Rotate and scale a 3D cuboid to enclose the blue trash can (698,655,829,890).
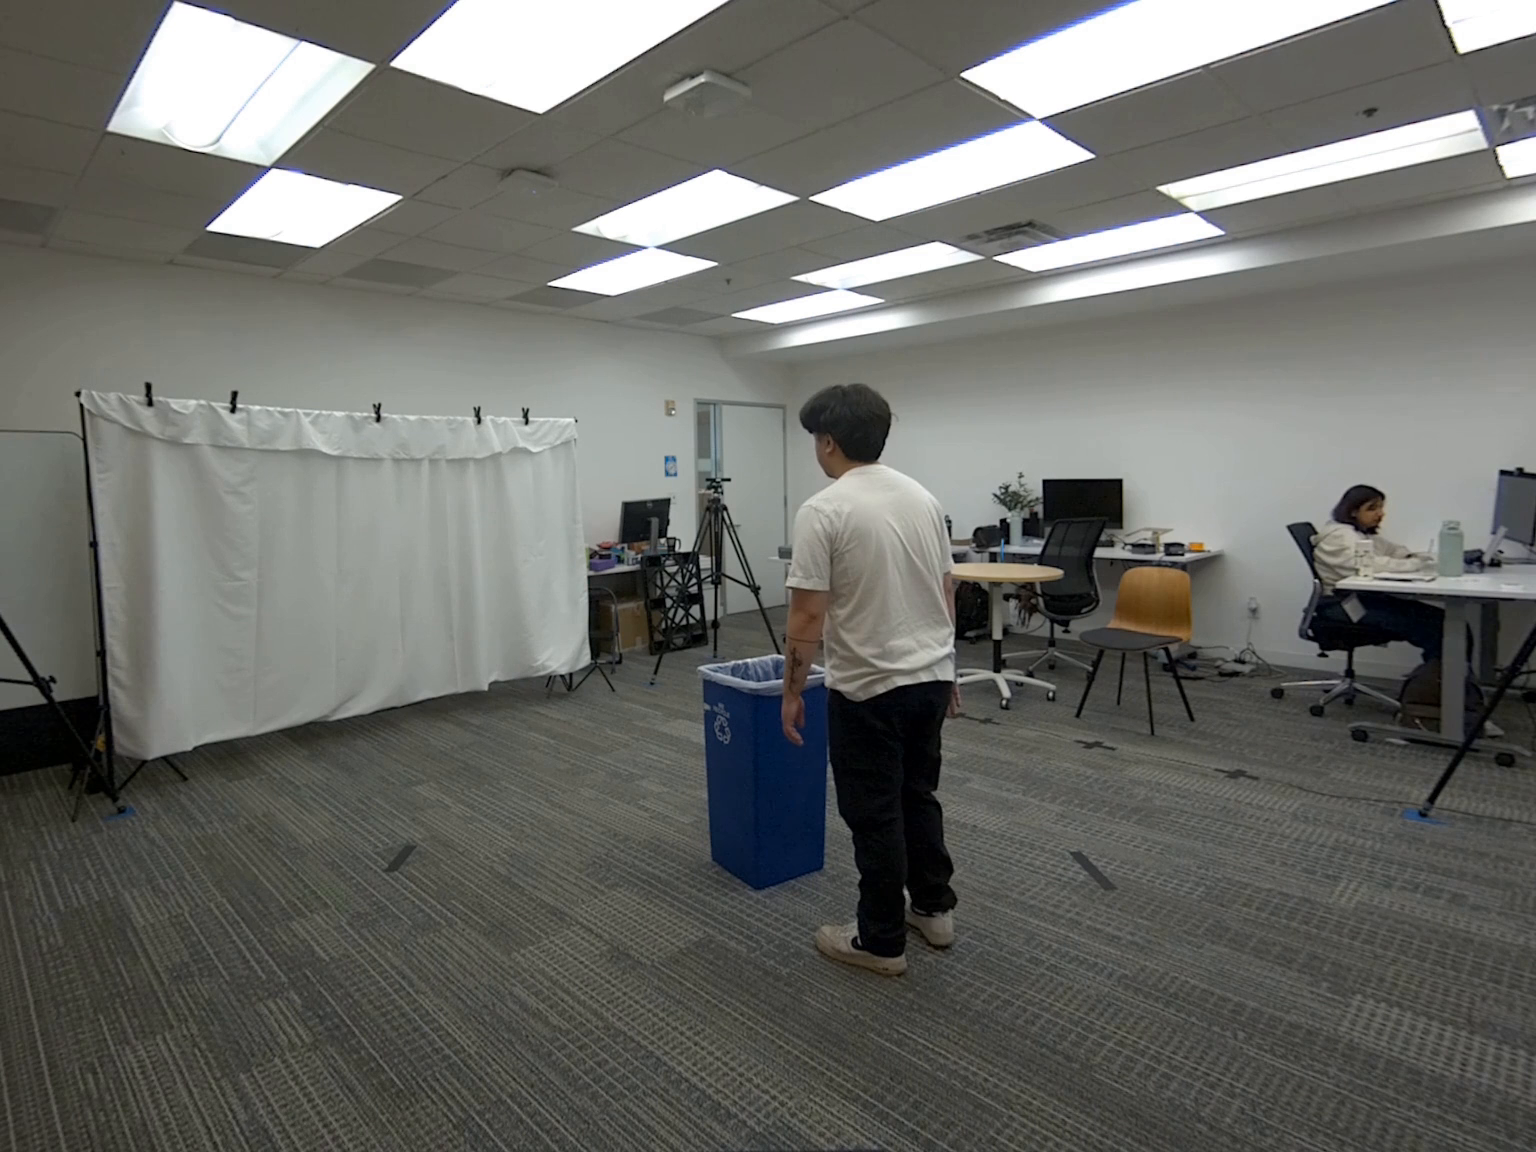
[{"bbox_3d":[0.001,0.686,3.068,0.368,0.711,0.385,-4,5,-35],"label":"blue trash can"}]
